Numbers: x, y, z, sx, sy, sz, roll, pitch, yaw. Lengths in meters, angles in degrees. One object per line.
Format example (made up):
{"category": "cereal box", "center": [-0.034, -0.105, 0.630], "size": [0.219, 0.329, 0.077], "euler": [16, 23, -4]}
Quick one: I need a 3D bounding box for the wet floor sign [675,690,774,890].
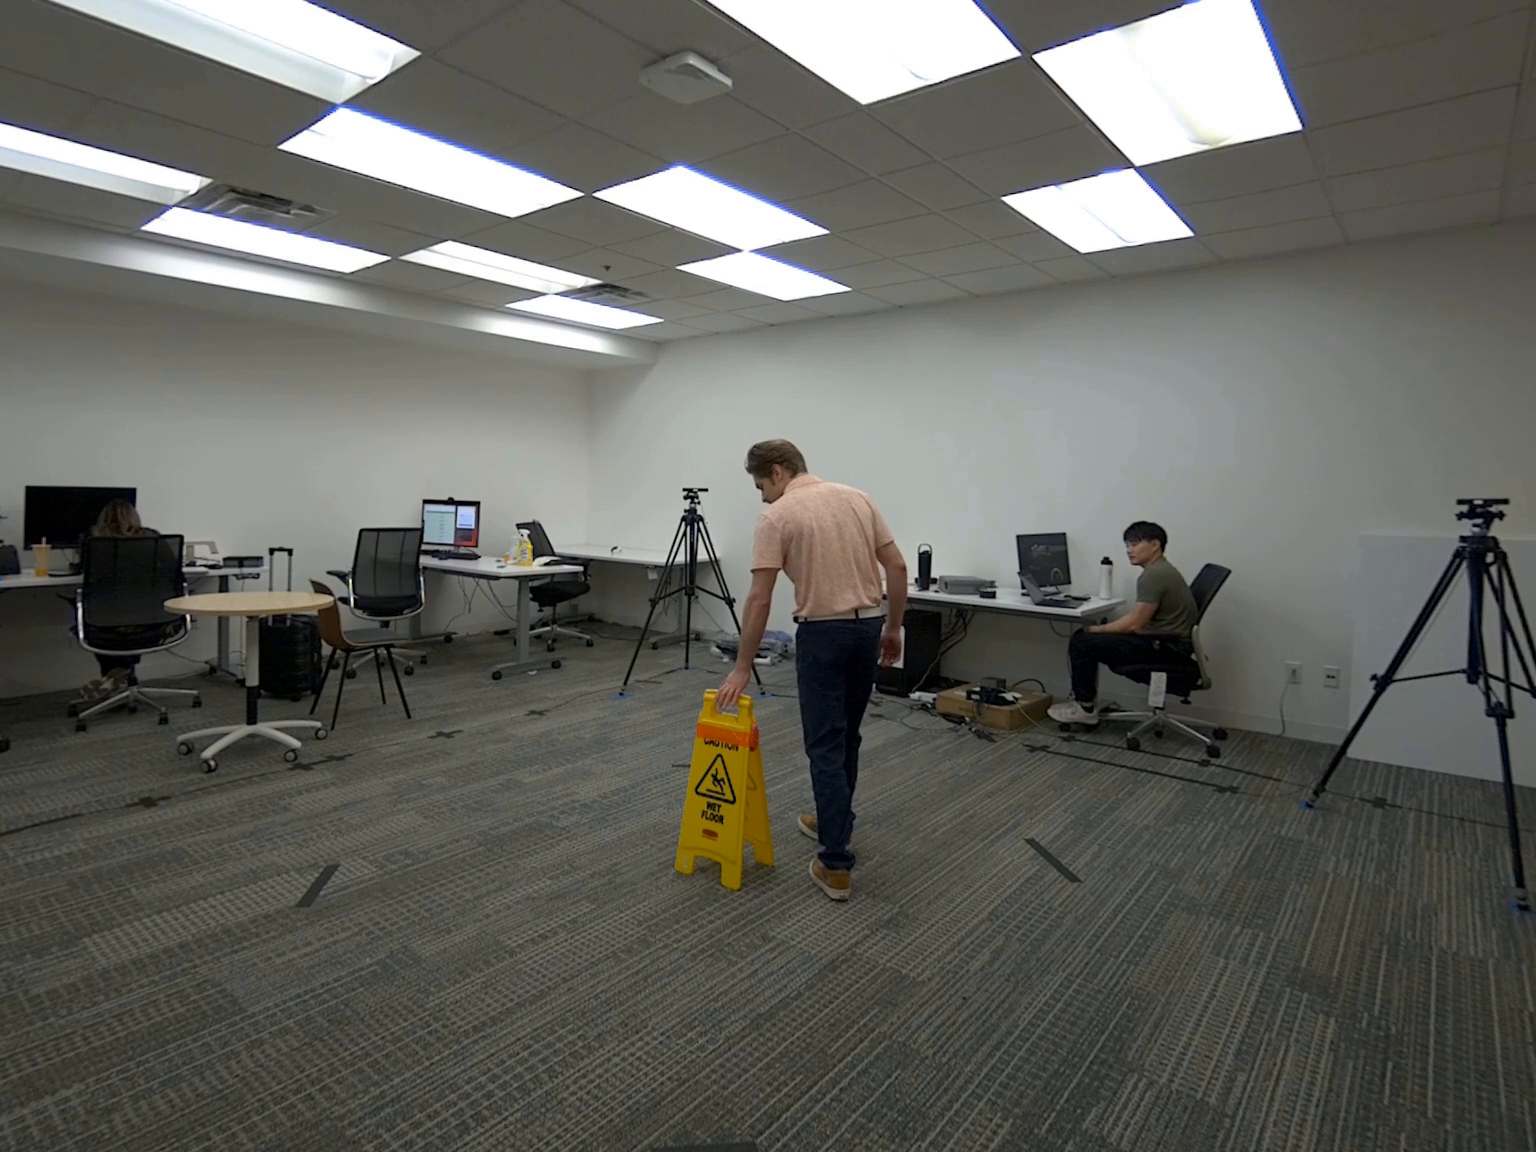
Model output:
{"category": "wet floor sign", "center": [-0.164, 0.745, 3.111], "size": [0.291, 0.644, 0.282], "euler": [2, 4, 32]}
